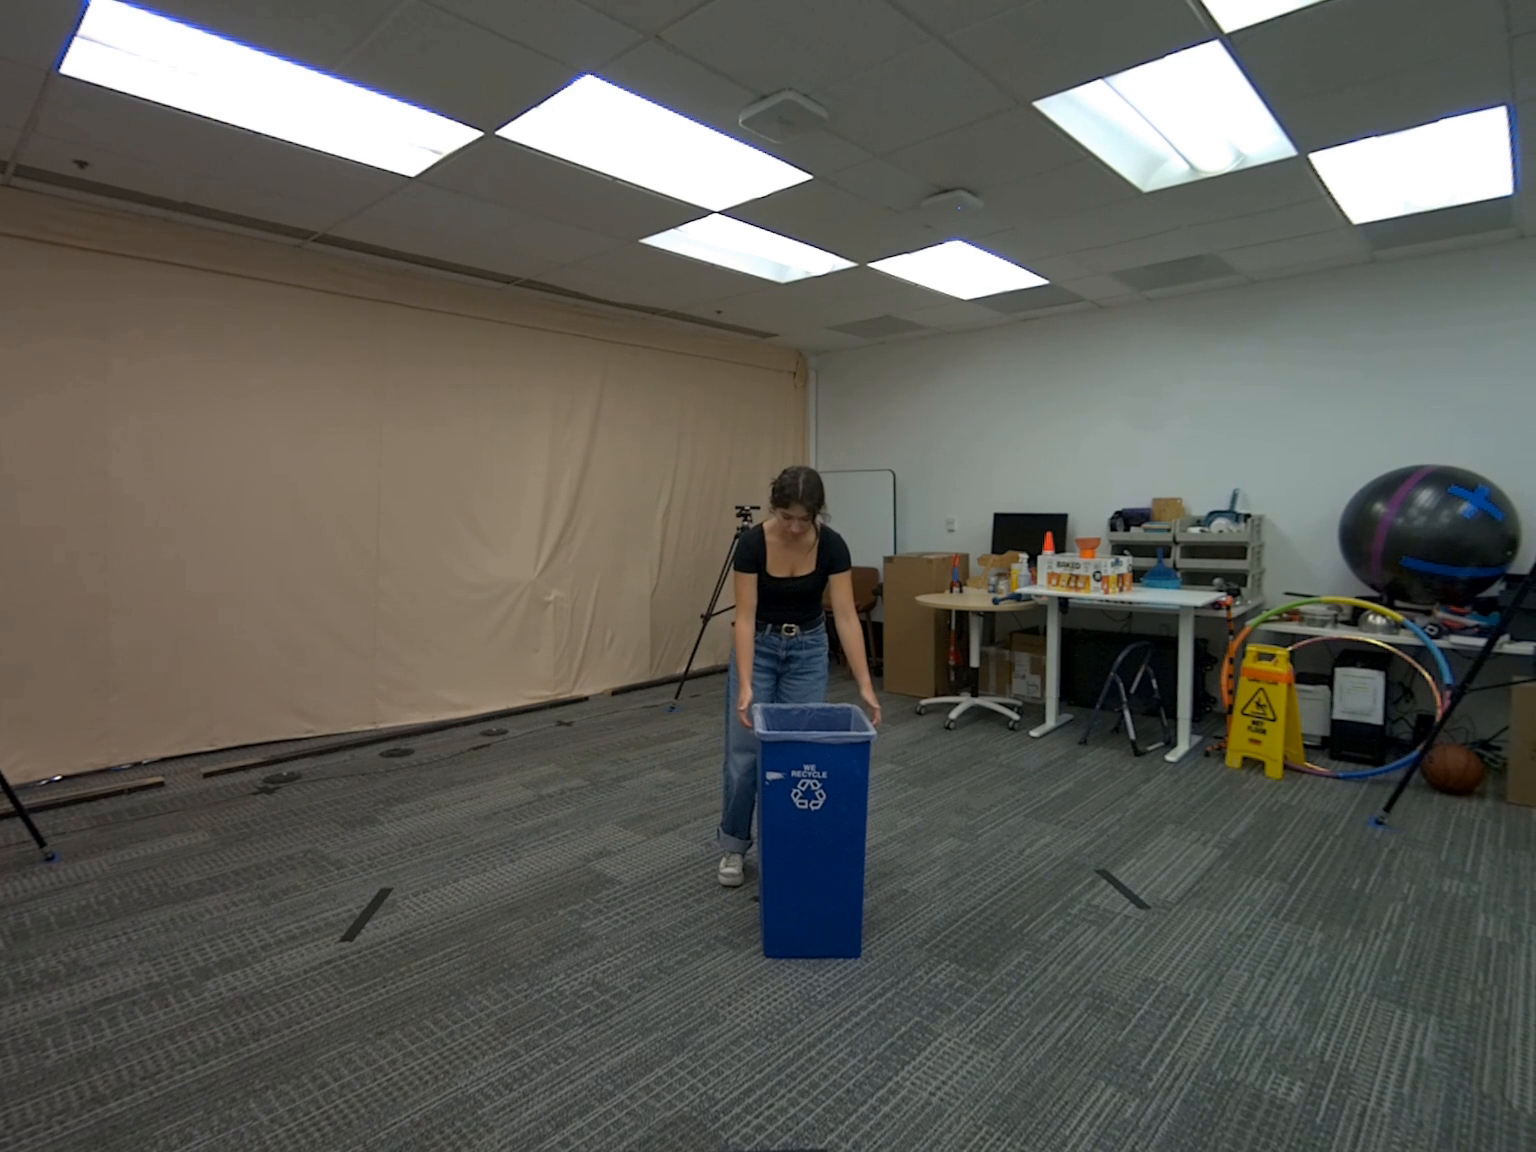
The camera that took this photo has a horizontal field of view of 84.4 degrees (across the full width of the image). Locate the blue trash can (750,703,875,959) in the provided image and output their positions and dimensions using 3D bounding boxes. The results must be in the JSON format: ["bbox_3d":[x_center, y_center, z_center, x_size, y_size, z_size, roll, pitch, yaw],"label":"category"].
[{"bbox_3d":[0.145,0.810,2.720,0.374,0.712,0.379,0,4,-2],"label":"blue trash can"}]
